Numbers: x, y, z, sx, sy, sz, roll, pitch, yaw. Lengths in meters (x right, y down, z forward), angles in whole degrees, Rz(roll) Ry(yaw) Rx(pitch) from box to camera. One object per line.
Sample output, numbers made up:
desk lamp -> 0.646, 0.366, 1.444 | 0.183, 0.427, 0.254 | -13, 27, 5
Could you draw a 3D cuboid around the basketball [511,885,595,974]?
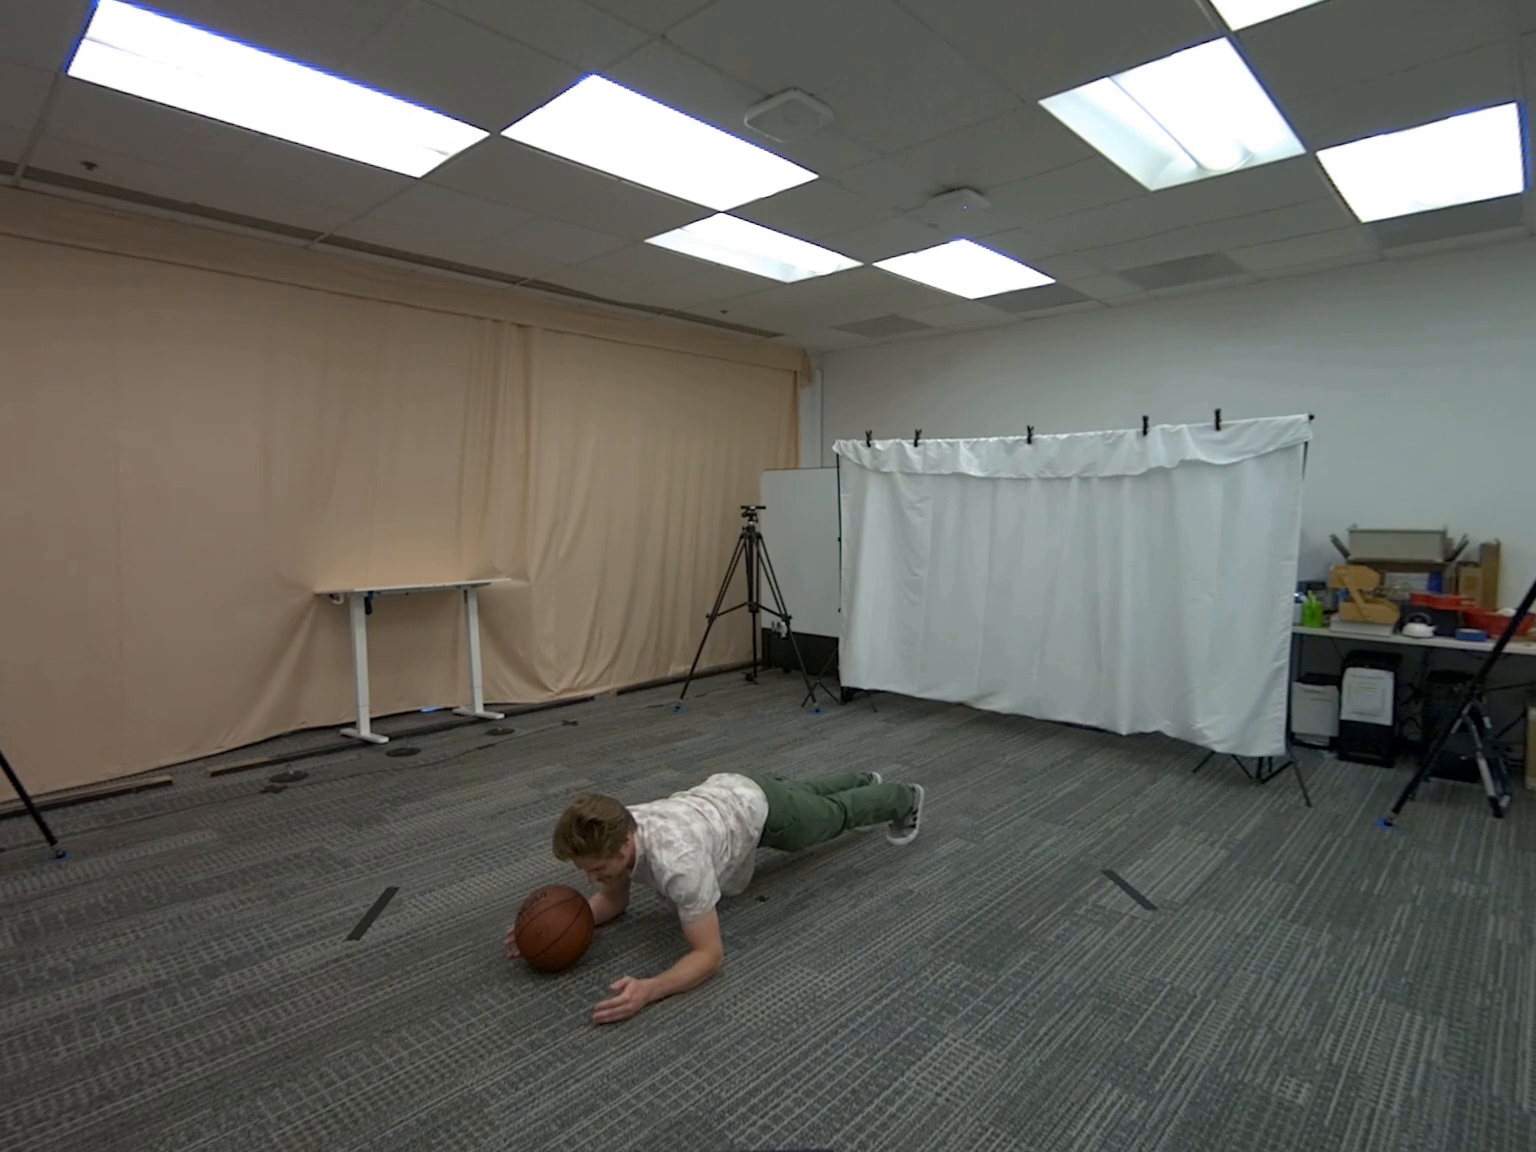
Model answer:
basketball -> -0.649, 1.066, 2.551 | 0.236, 0.235, 0.237 | 0, 4, -2
